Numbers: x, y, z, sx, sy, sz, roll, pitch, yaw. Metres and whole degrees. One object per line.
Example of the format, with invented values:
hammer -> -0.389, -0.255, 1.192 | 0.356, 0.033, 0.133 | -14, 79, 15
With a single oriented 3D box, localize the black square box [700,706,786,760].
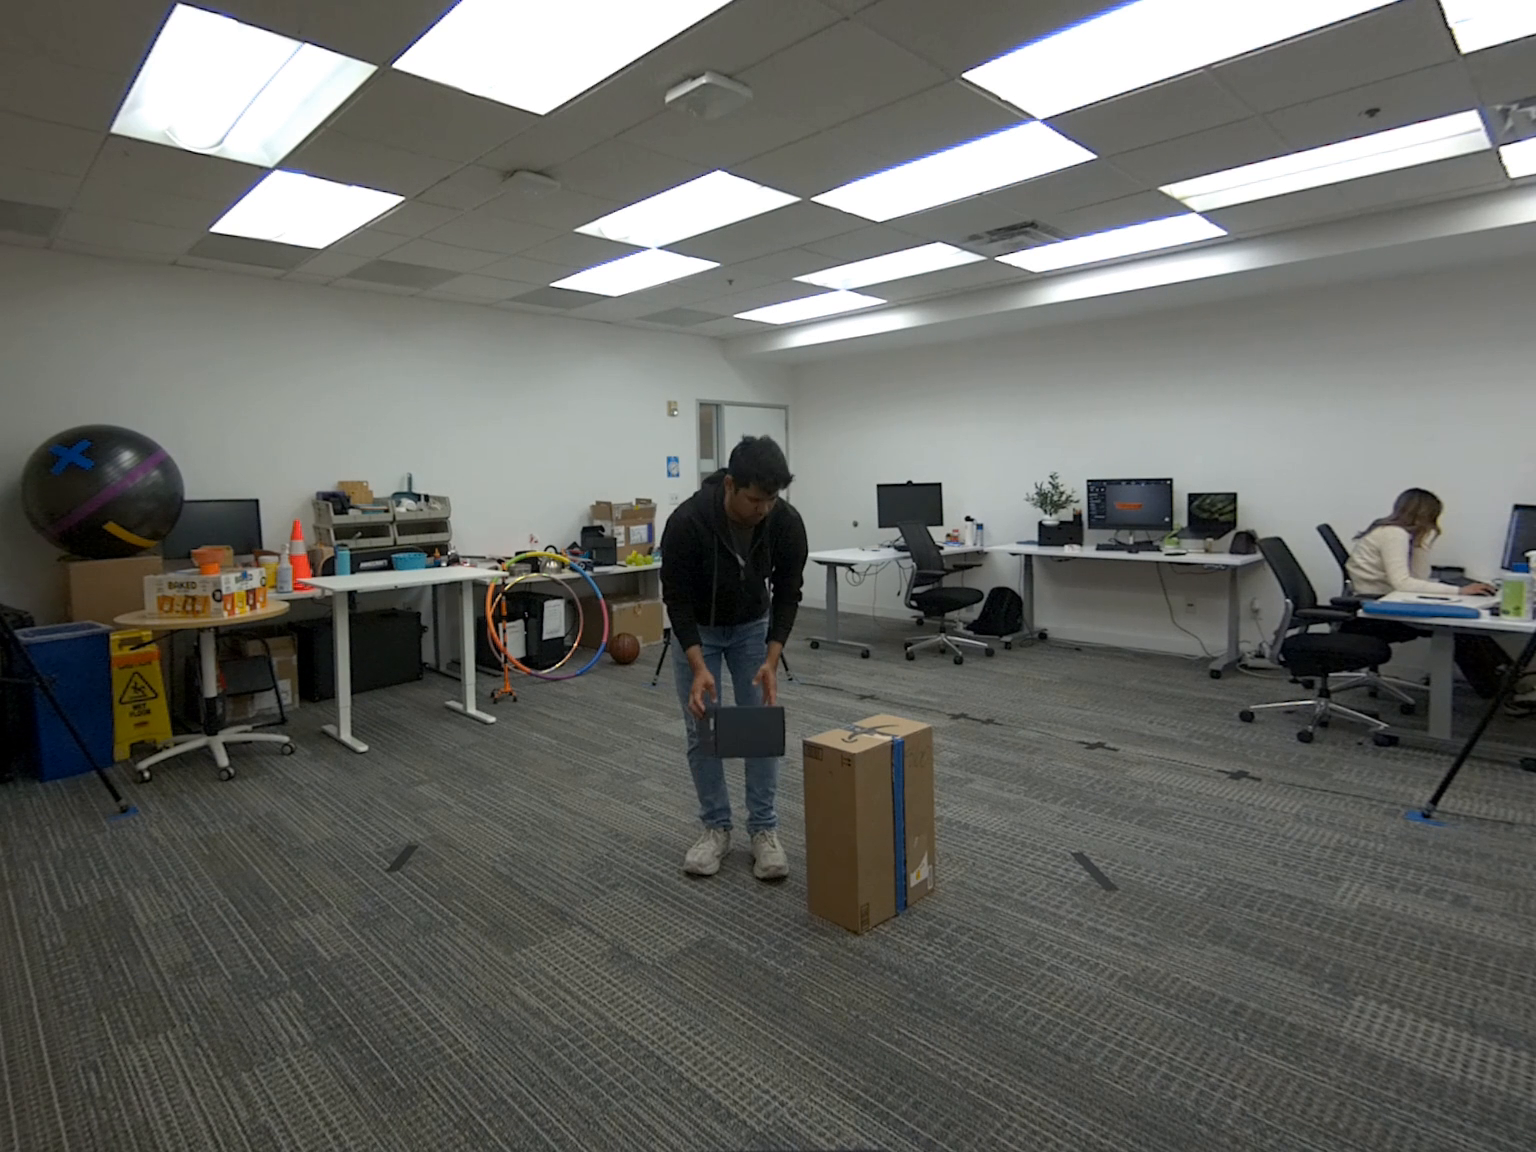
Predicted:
black square box -> -0.076, 0.506, 2.760 | 0.224, 0.157, 0.218 | 1, -9, -16
